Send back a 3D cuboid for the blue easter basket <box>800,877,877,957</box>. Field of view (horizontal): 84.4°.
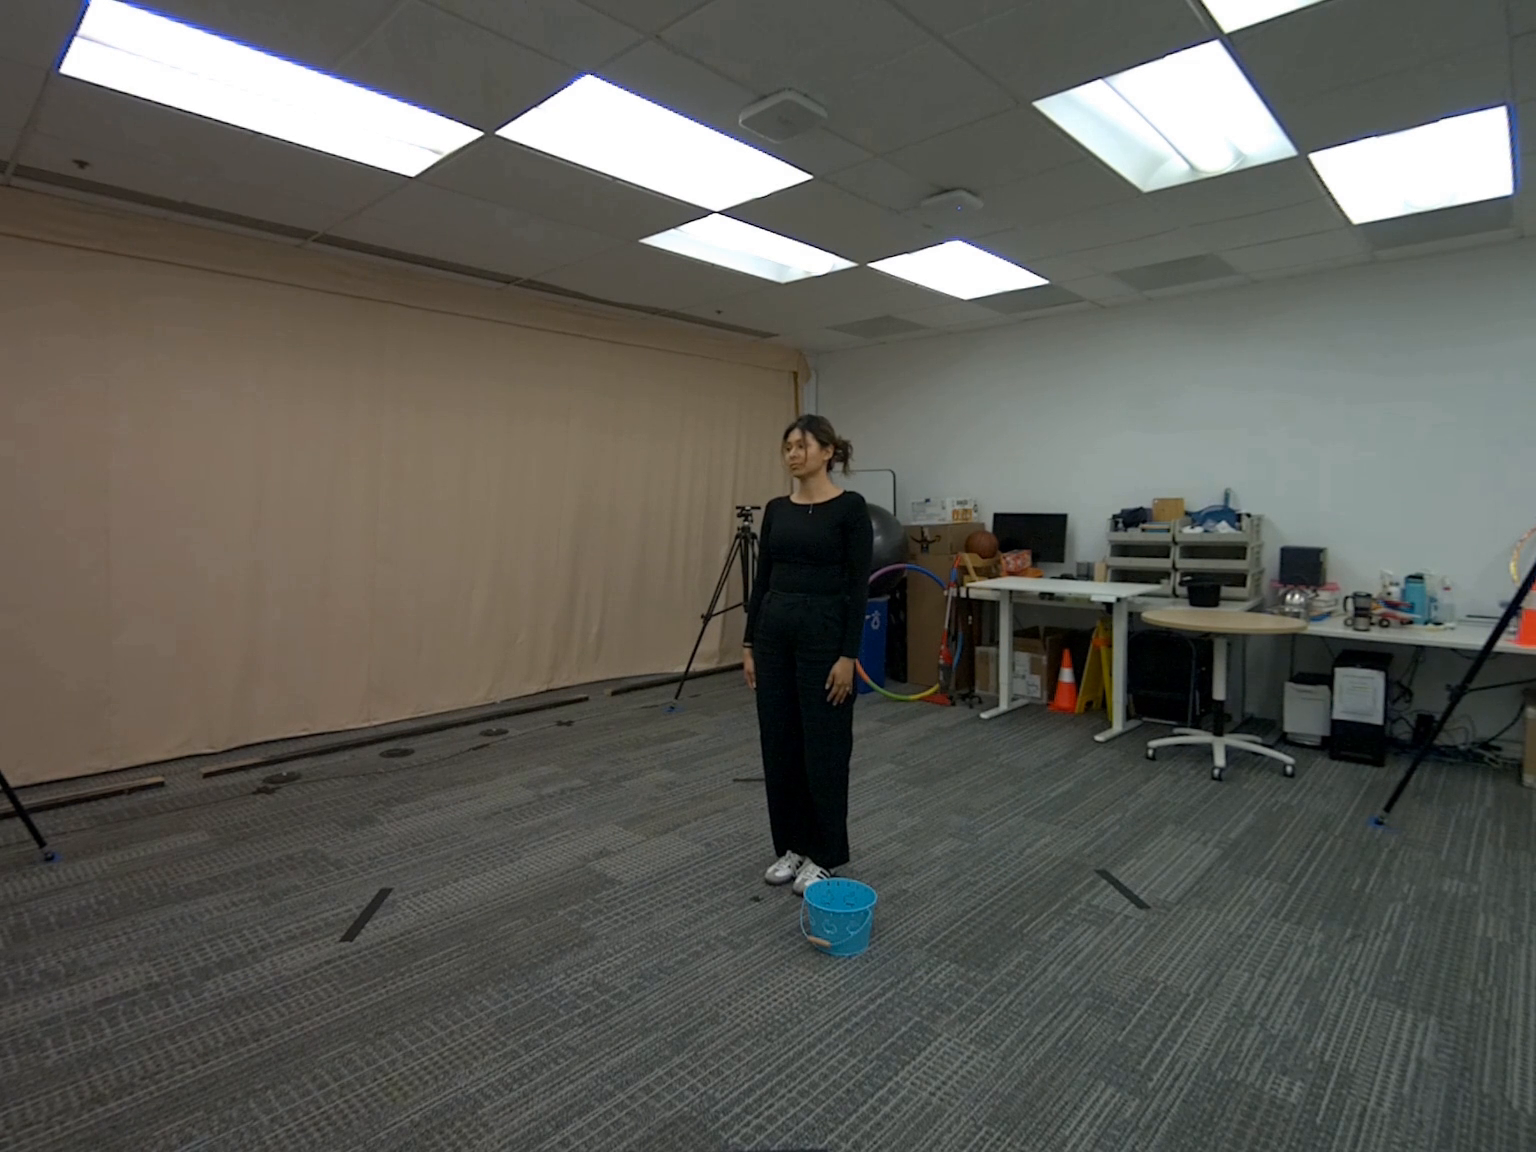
[{"bbox_3d":[0.227,1.080,2.696,0.243,0.155,0.244,0,4,-2],"label":"blue easter basket"}]
